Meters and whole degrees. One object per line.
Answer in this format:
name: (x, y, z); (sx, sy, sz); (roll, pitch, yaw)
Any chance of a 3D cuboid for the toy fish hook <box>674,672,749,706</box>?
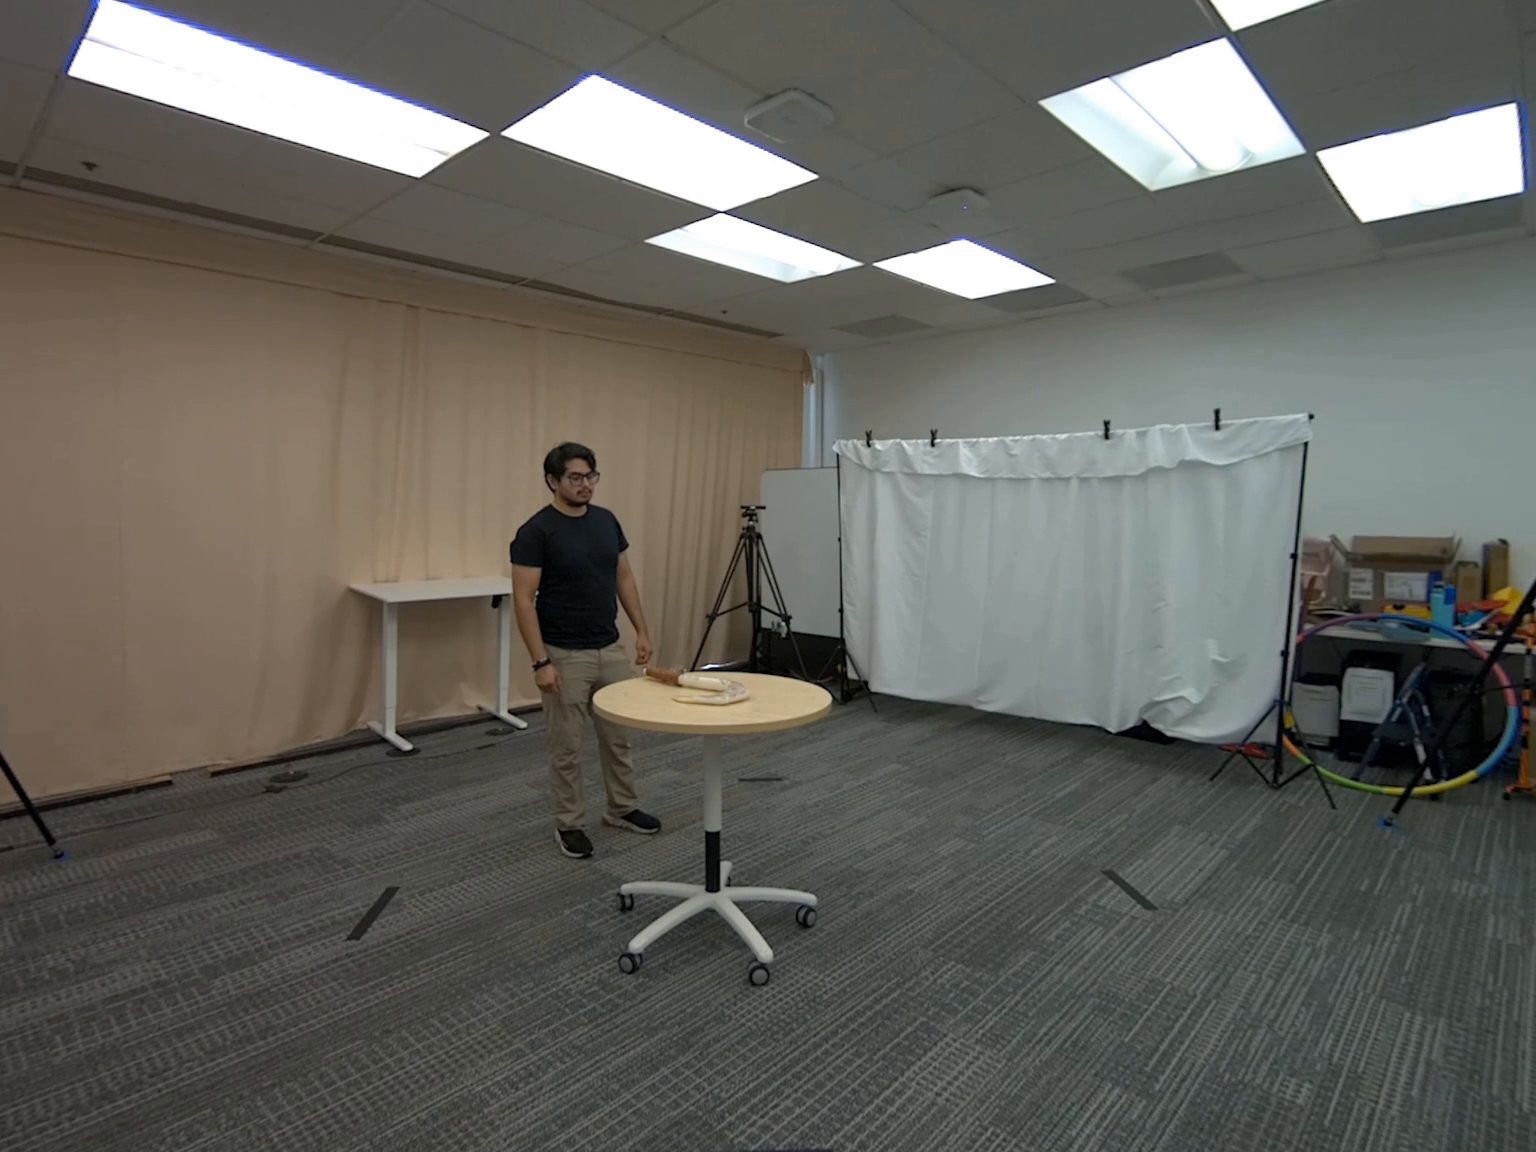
toy fish hook: (-0.280, 0.358, 2.768); (0.524, 0.048, 0.217); (5, 5, 43)
